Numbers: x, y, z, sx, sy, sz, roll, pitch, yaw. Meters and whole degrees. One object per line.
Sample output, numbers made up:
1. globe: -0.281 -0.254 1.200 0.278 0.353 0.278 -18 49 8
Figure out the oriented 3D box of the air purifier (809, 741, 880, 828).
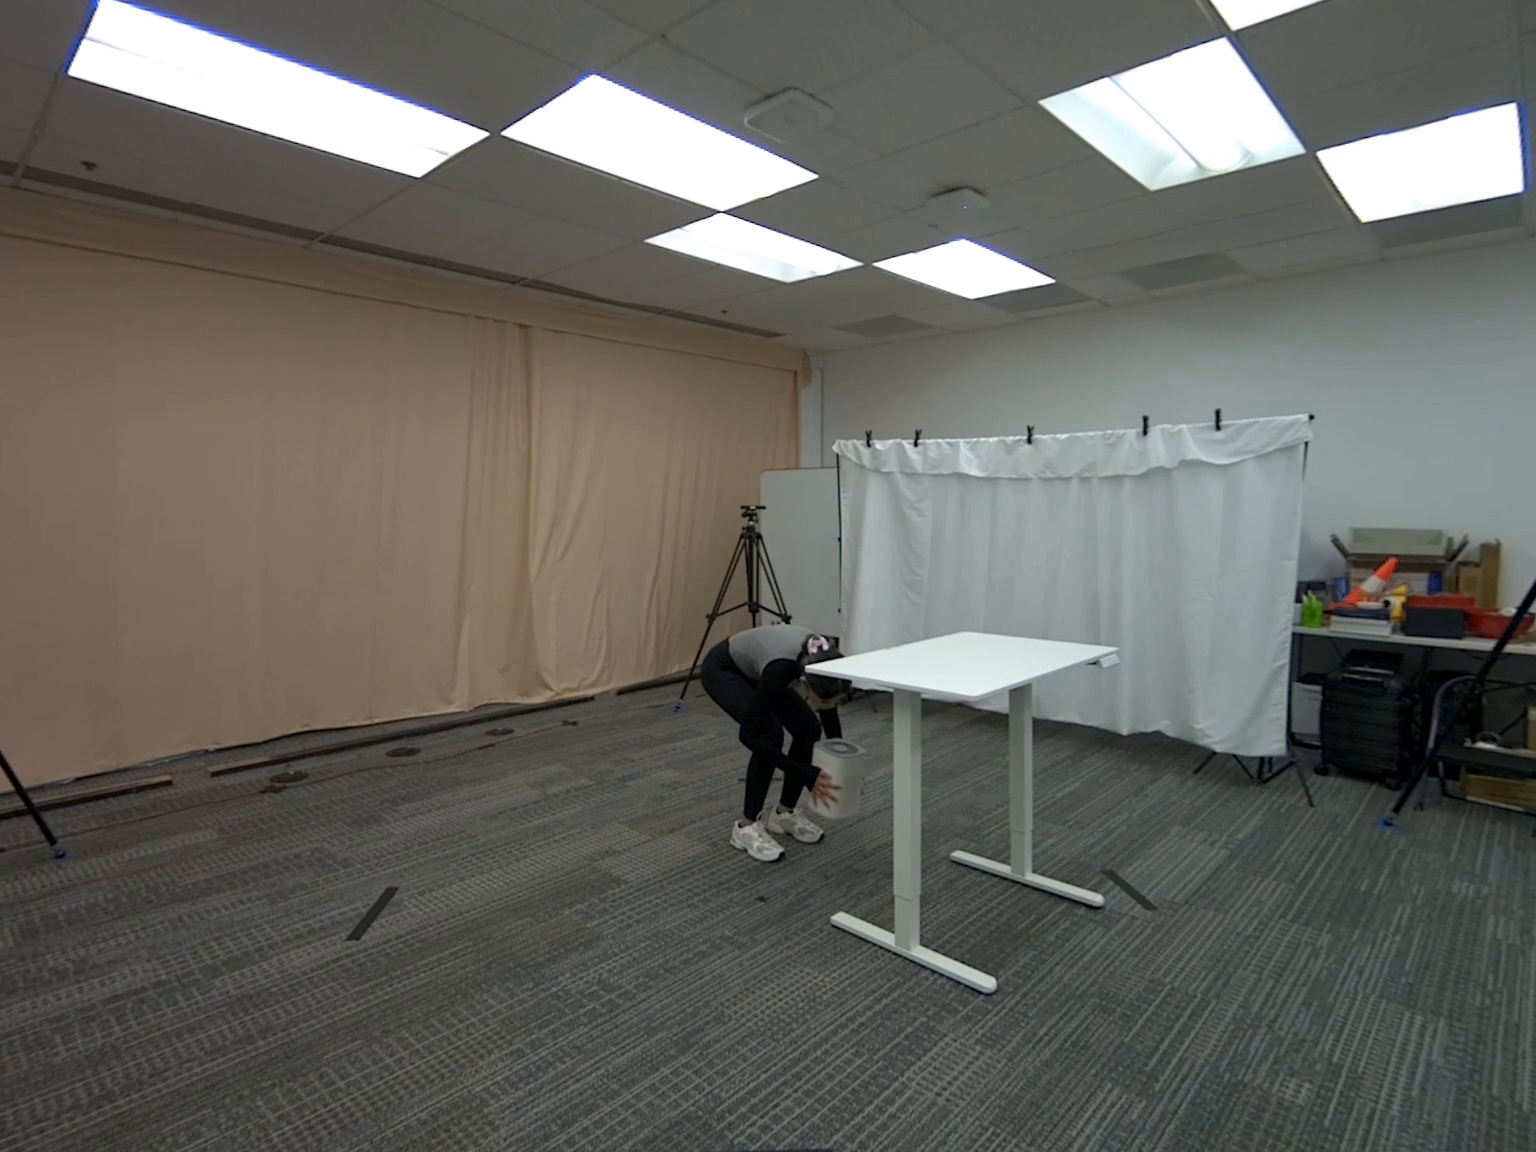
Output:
1. air purifier: 0.285 0.785 3.220 0.166 0.265 0.176 5 2 -27
